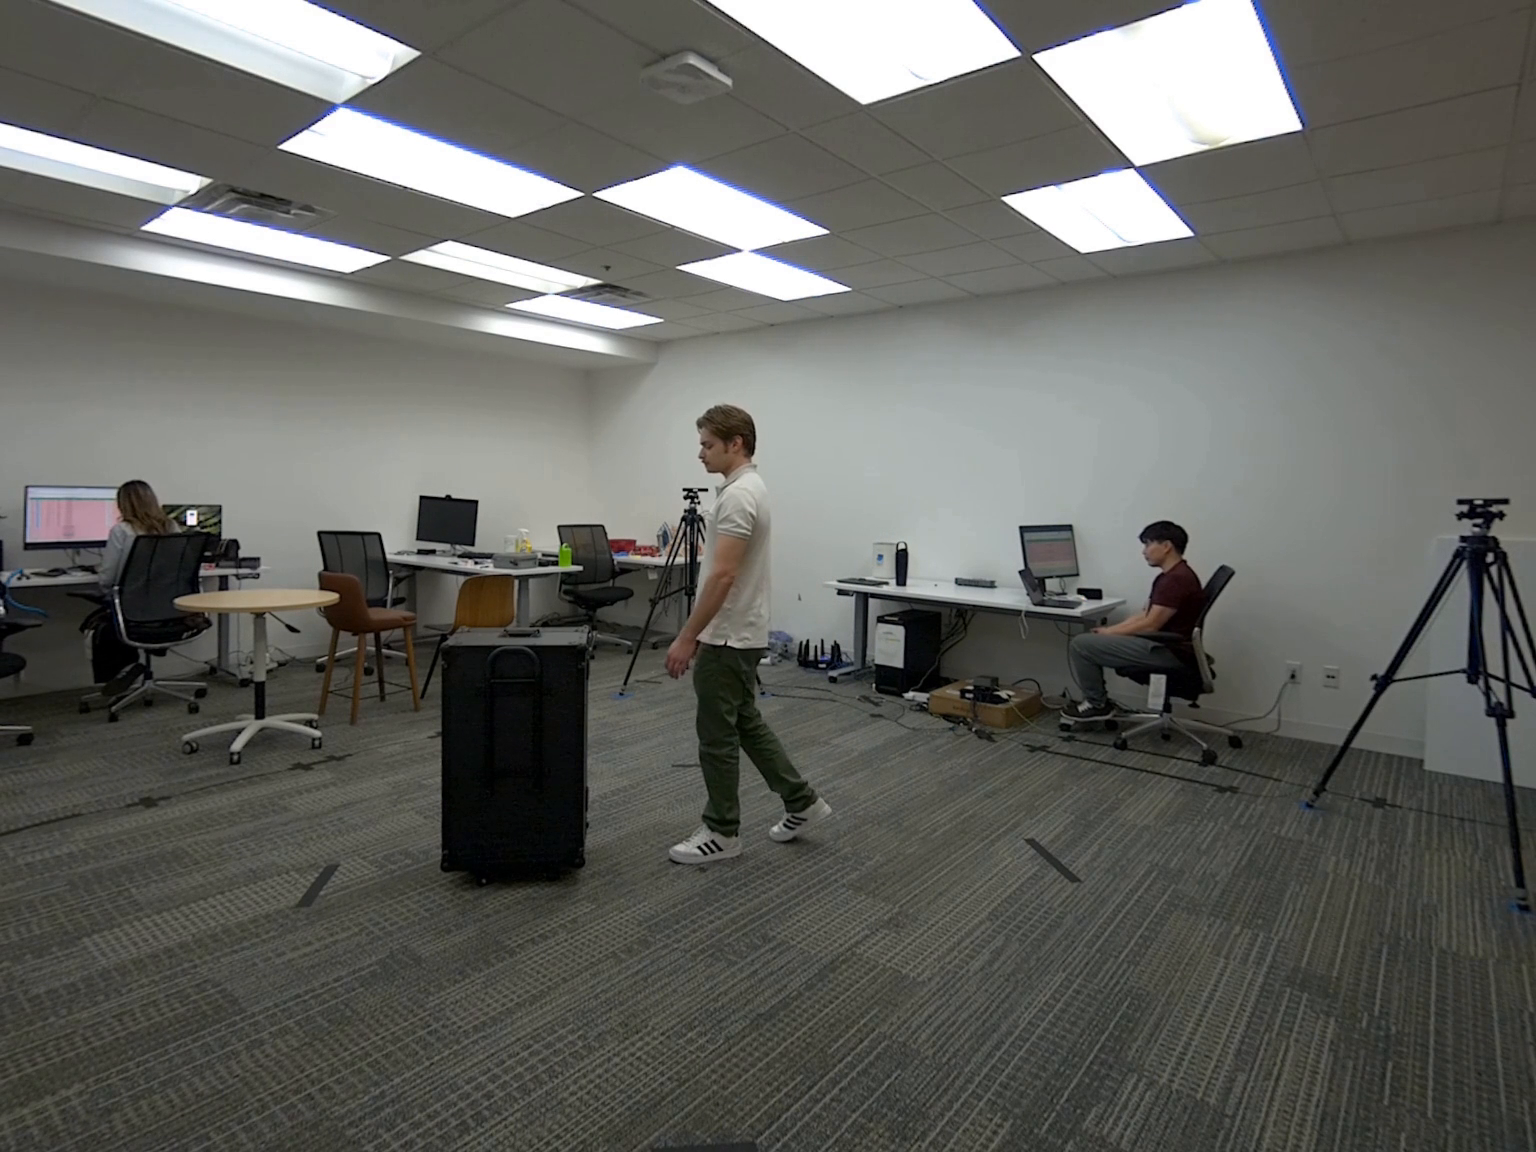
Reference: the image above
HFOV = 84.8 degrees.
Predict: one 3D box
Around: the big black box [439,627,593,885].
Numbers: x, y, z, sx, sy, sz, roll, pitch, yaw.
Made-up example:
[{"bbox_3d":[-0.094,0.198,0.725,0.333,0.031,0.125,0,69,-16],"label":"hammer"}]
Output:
[{"bbox_3d":[-0.905,0.638,3.073,0.519,0.866,0.389,1,3,-8],"label":"big black box"}]
